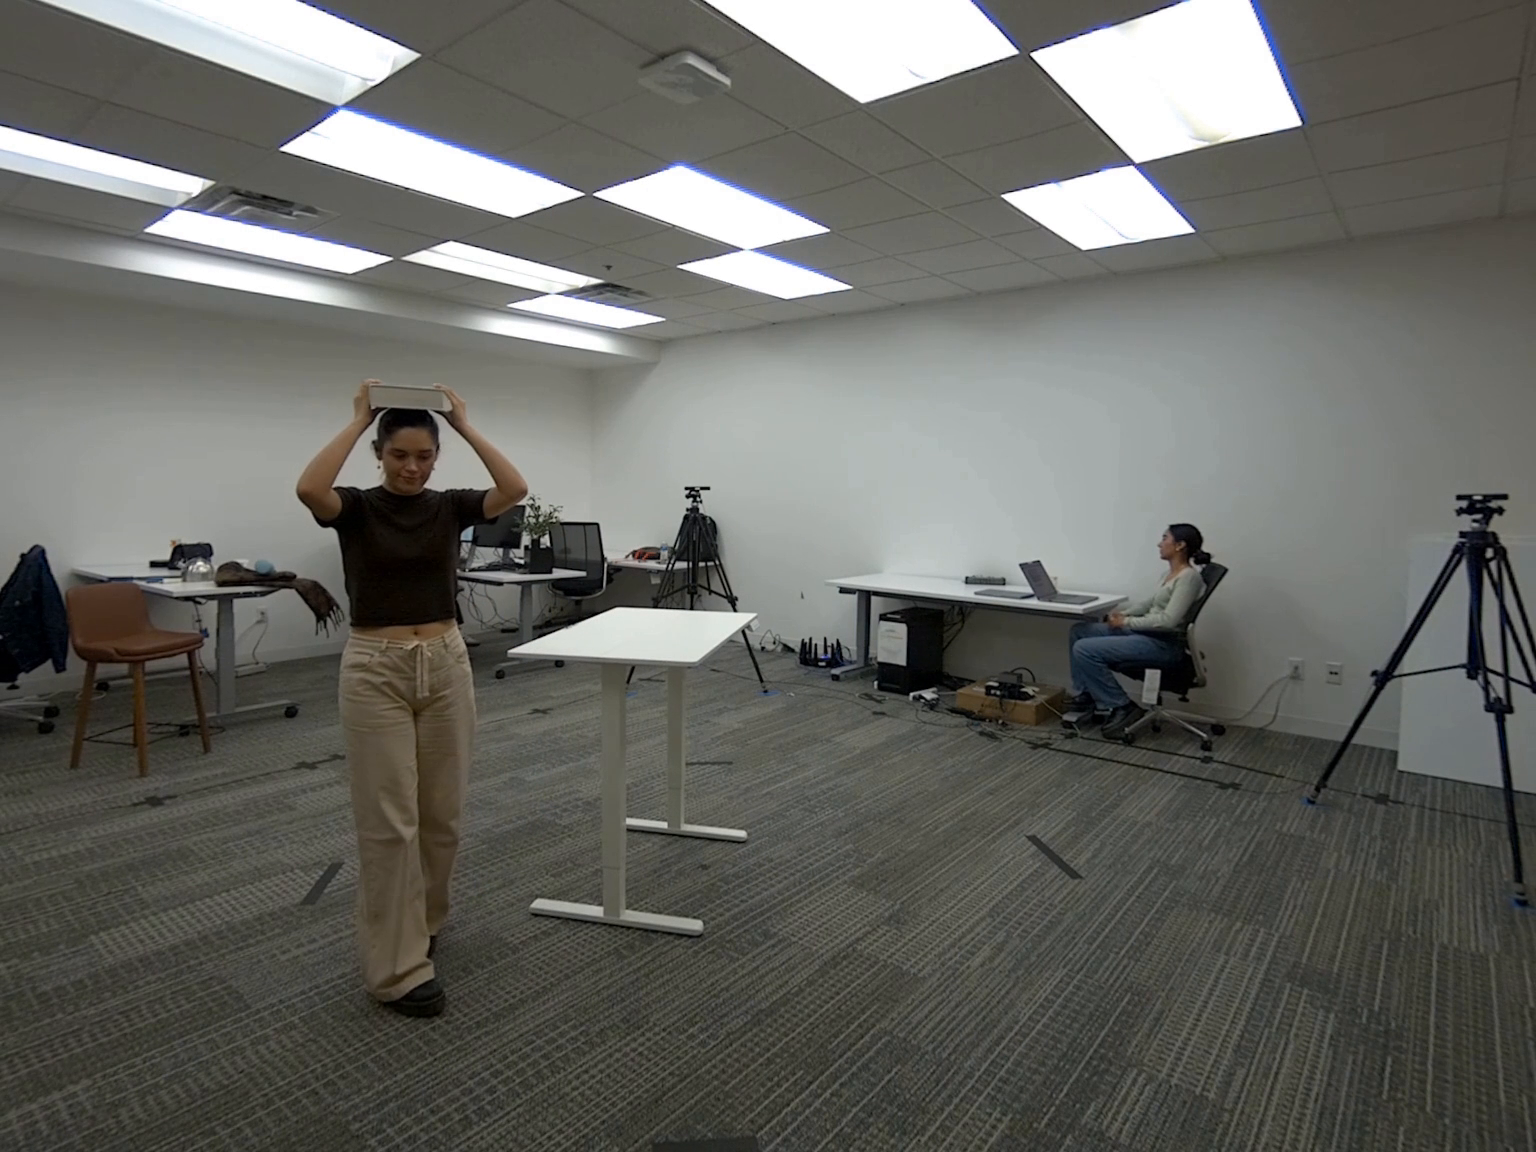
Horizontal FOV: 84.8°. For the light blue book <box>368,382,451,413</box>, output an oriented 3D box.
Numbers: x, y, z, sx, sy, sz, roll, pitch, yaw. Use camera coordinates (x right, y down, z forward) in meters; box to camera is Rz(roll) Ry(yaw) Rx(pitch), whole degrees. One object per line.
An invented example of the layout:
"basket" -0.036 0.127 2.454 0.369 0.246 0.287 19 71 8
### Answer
"light blue book" -1.014 -0.497 2.351 0.187 0.058 0.270 0 13 -26
